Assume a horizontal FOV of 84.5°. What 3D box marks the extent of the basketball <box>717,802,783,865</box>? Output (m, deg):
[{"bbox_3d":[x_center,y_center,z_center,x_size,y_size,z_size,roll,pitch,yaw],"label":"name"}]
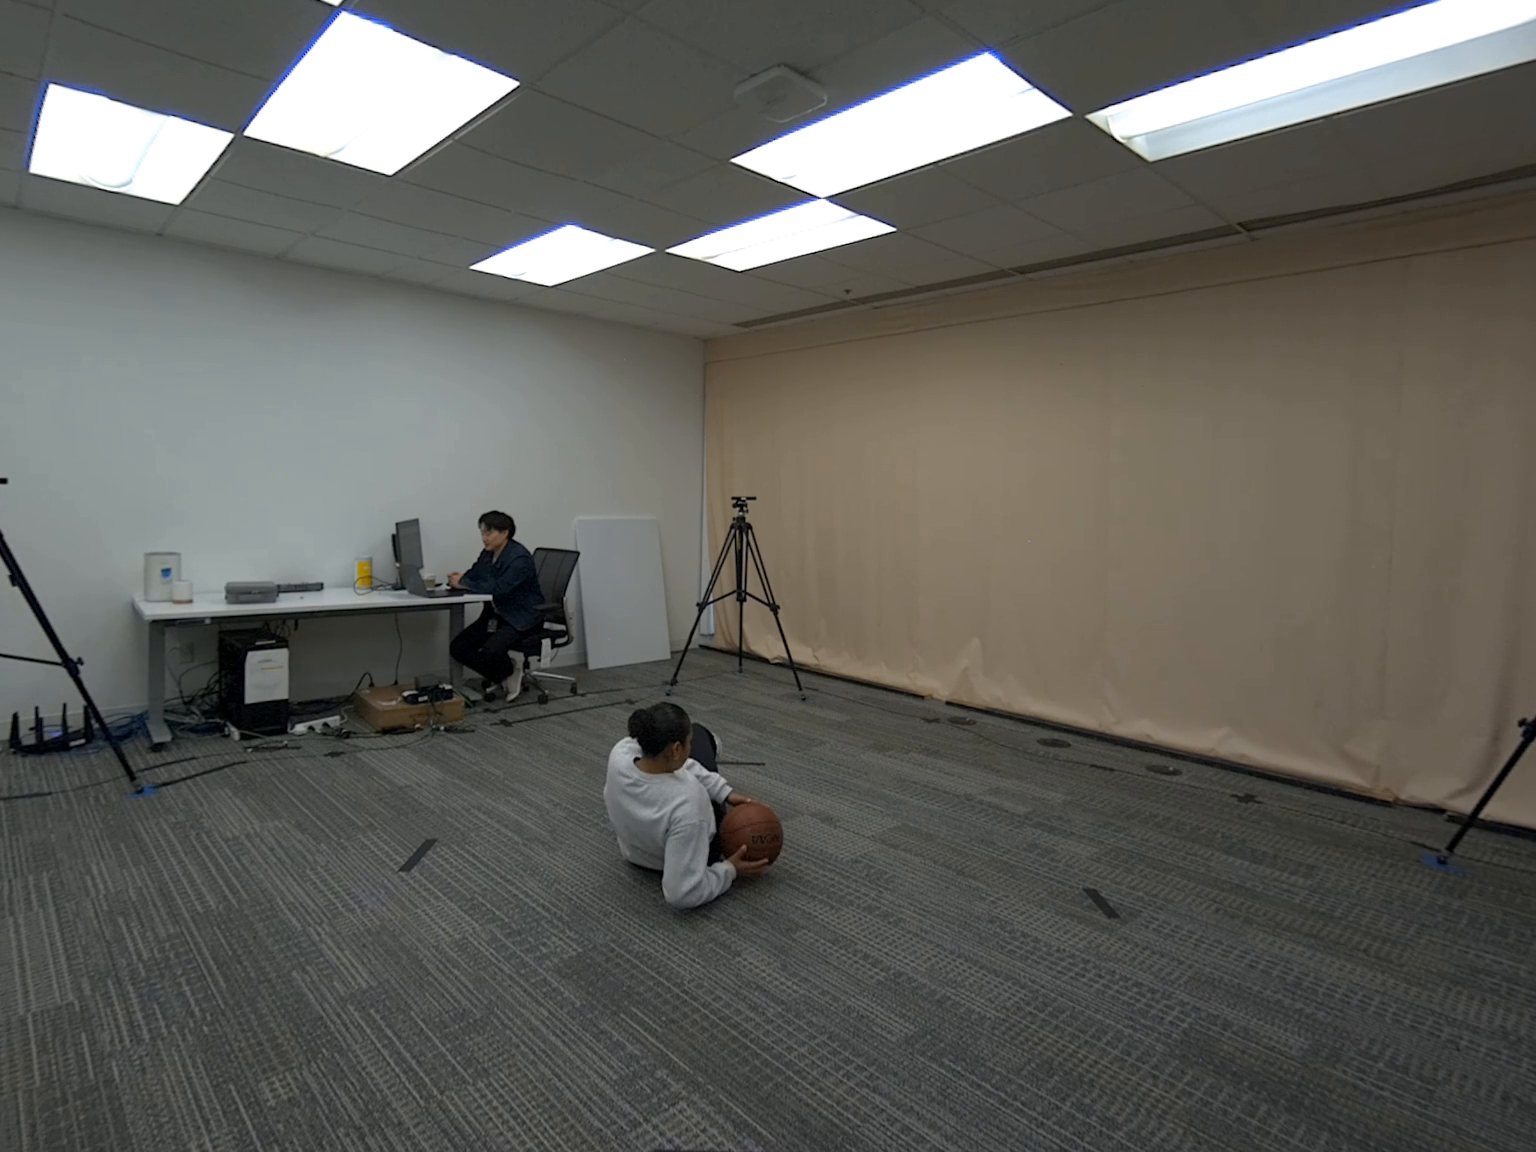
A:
[{"bbox_3d":[-0.079,0.927,3.089,0.236,0.235,0.237,1,4,-1],"label":"basketball"}]
